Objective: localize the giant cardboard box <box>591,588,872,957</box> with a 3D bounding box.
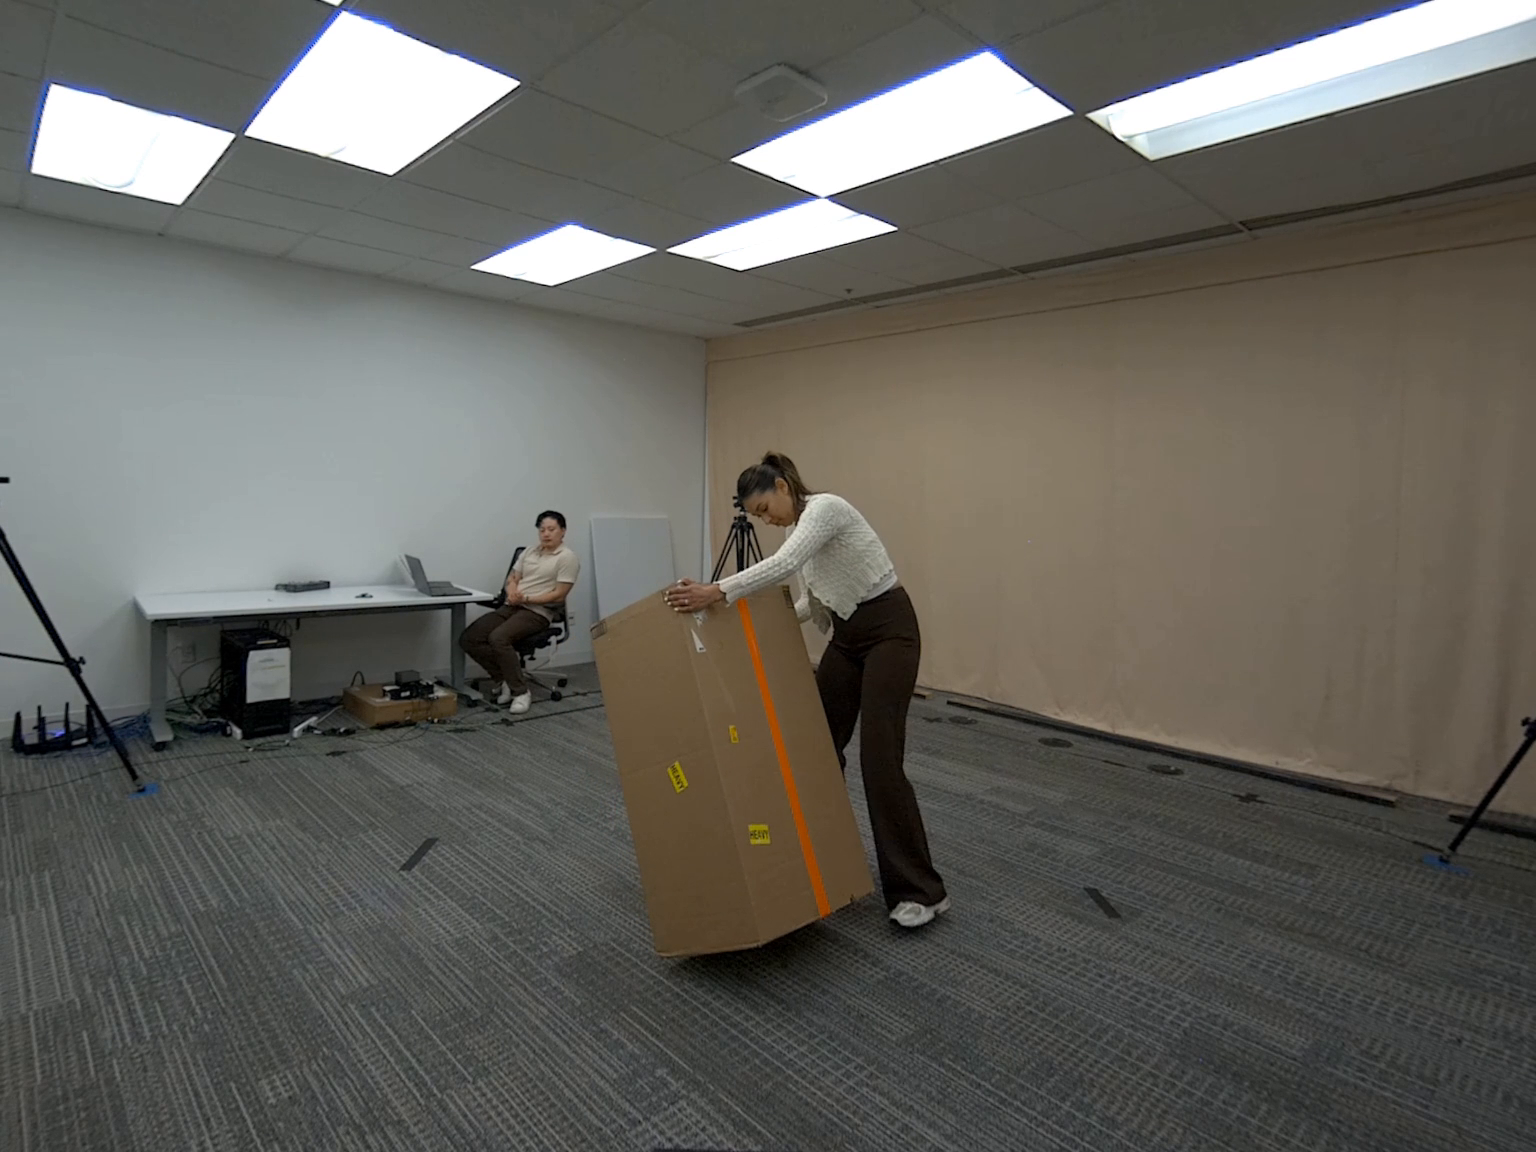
[{"bbox_3d":[-0.133,0.582,2.694,0.430,1.041,0.563,-27,-20,35],"label":"giant cardboard box"}]
